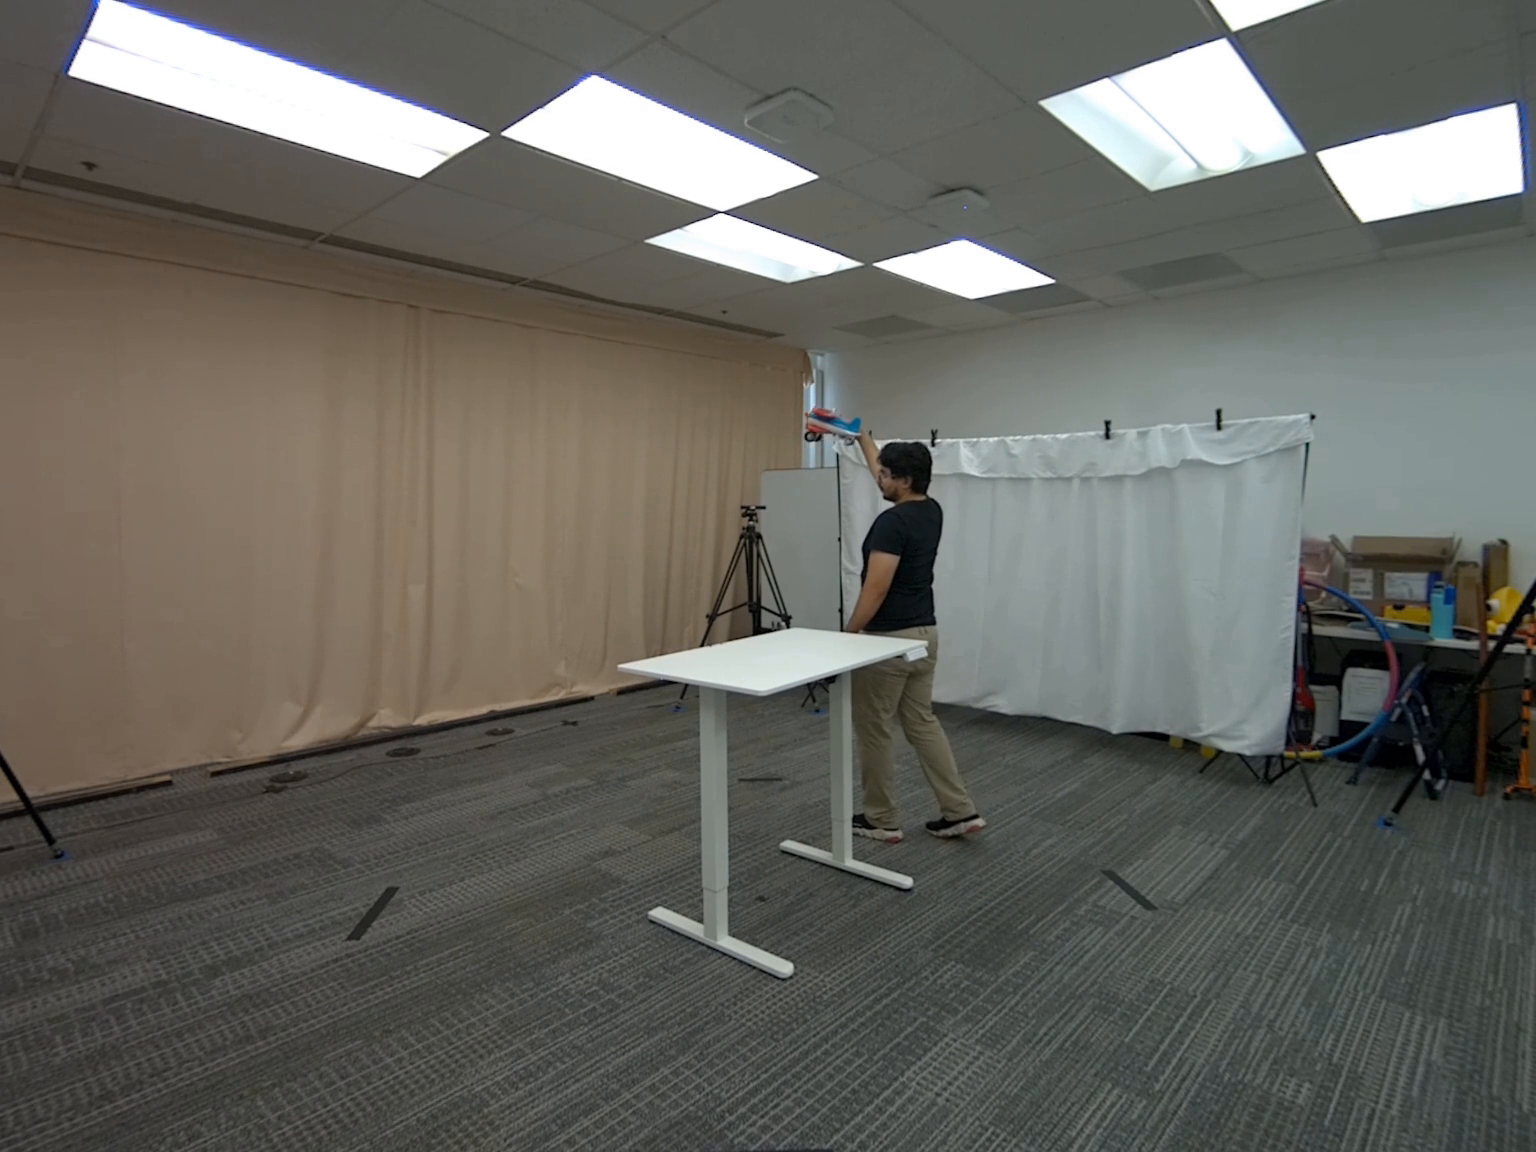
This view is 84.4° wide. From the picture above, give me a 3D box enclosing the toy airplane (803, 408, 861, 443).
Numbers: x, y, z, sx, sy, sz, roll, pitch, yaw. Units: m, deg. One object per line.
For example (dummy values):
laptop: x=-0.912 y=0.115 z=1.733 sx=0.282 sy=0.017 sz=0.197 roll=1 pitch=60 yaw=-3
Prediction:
toy airplane: x=0.301 y=-0.688 z=3.876 sx=0.258 sy=0.155 sz=0.254 roll=3 pitch=12 yaw=-4
